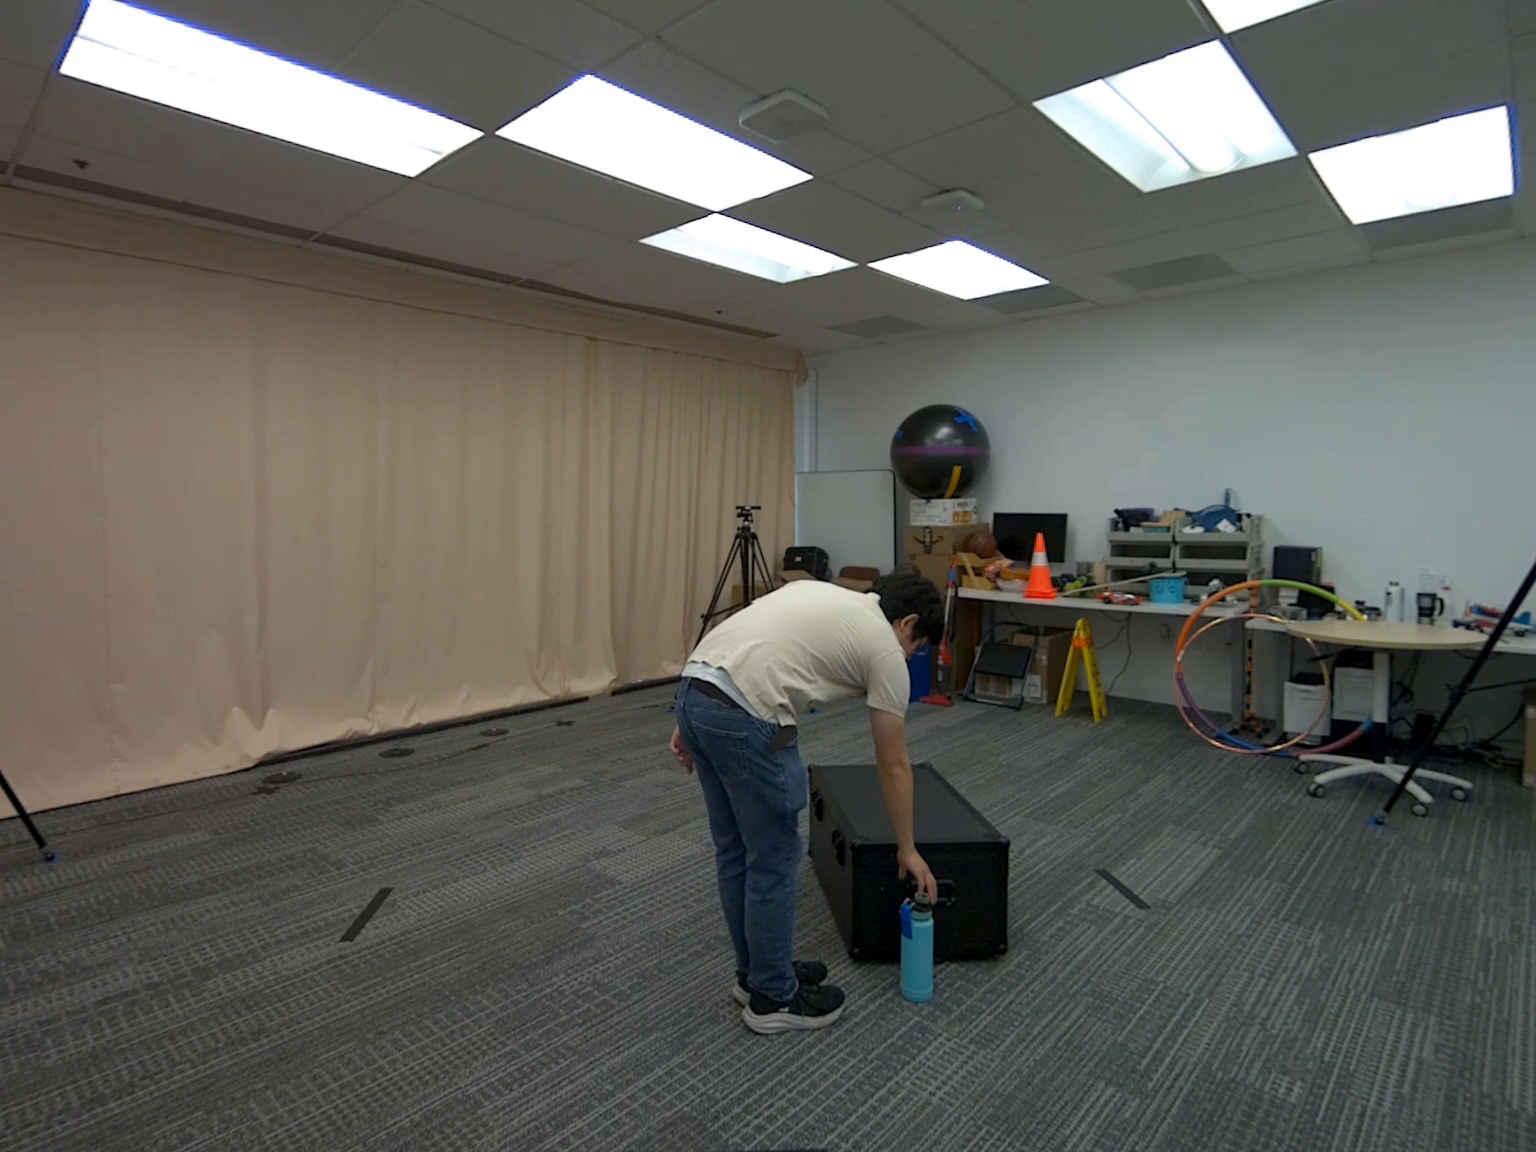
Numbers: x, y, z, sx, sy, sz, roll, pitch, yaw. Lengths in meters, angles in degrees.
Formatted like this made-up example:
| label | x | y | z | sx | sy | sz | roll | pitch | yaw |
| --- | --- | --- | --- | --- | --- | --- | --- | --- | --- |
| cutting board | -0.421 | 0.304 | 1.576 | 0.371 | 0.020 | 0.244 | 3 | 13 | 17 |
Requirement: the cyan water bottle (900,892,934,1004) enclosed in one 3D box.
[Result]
| label | x | y | z | sx | sy | sz | roll | pitch | yaw |
| --- | --- | --- | --- | --- | --- | --- | --- | --- | --- |
| cyan water bottle | 0.421 | 1.046 | 2.398 | 0.092 | 0.283 | 0.092 | 1 | 2 | -2 |
